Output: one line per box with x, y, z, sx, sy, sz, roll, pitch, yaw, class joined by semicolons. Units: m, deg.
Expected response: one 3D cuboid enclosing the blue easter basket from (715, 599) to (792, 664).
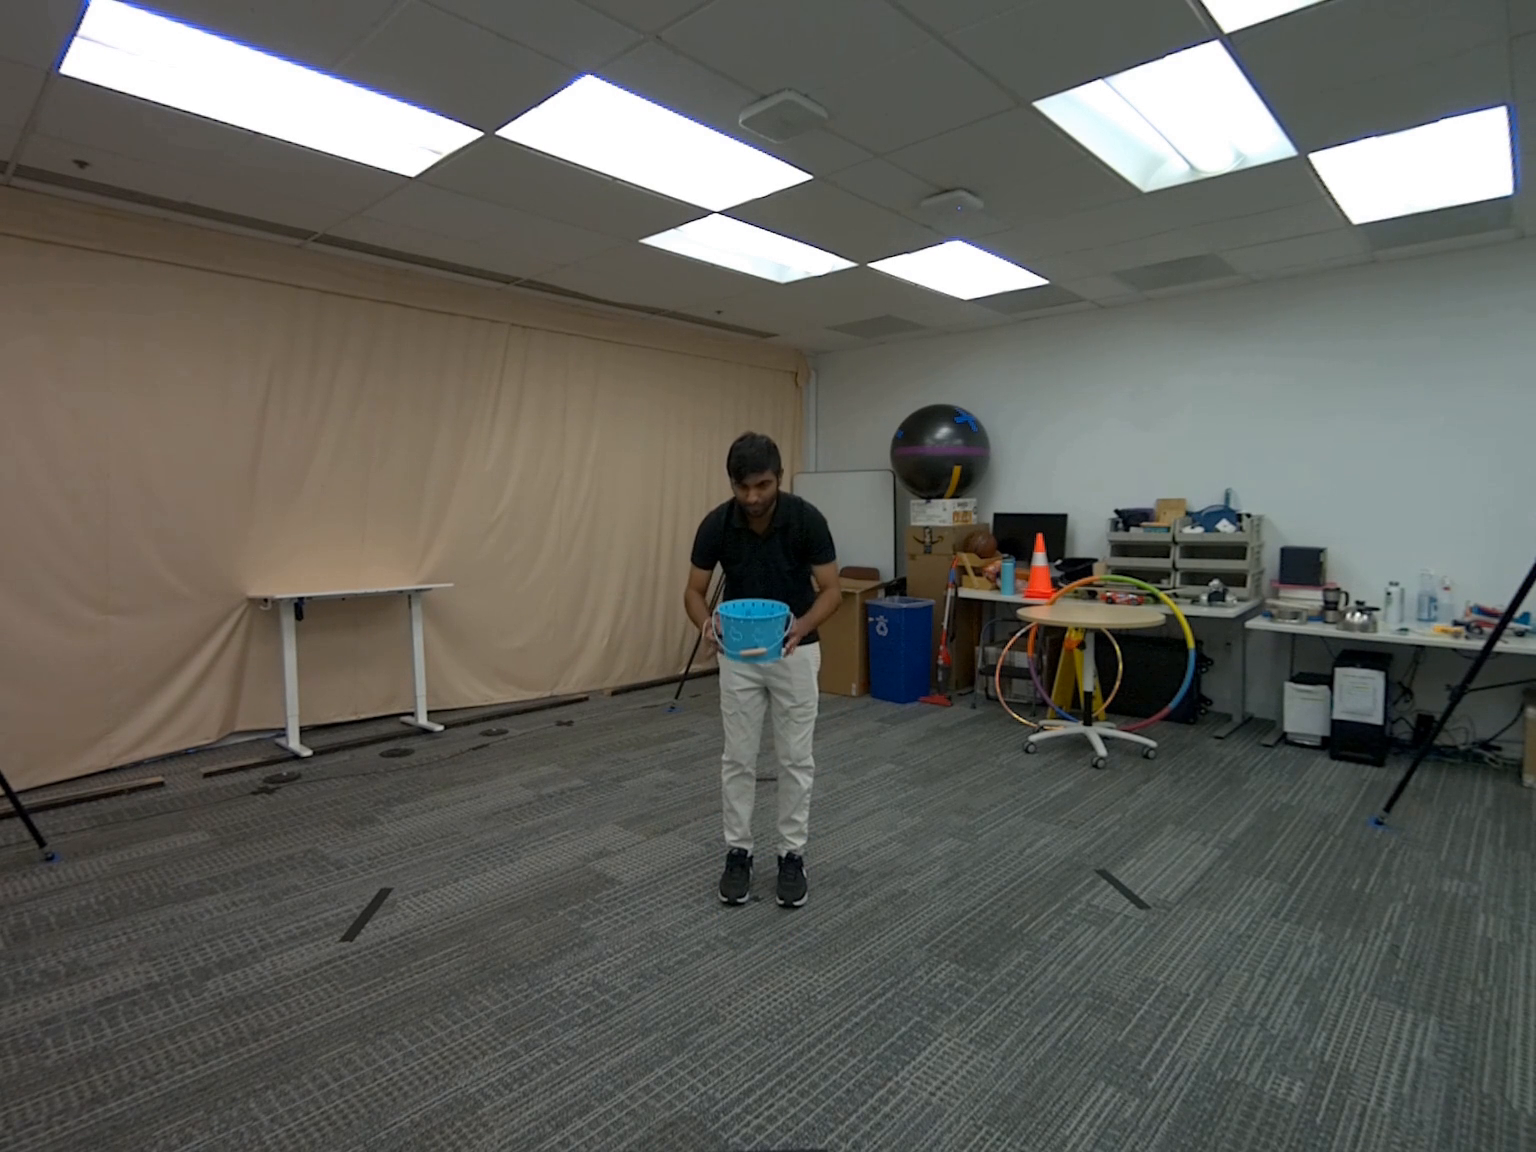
-0.054;0.183;2.658;0.243;0.155;0.245;-3;10;-1;blue easter basket
